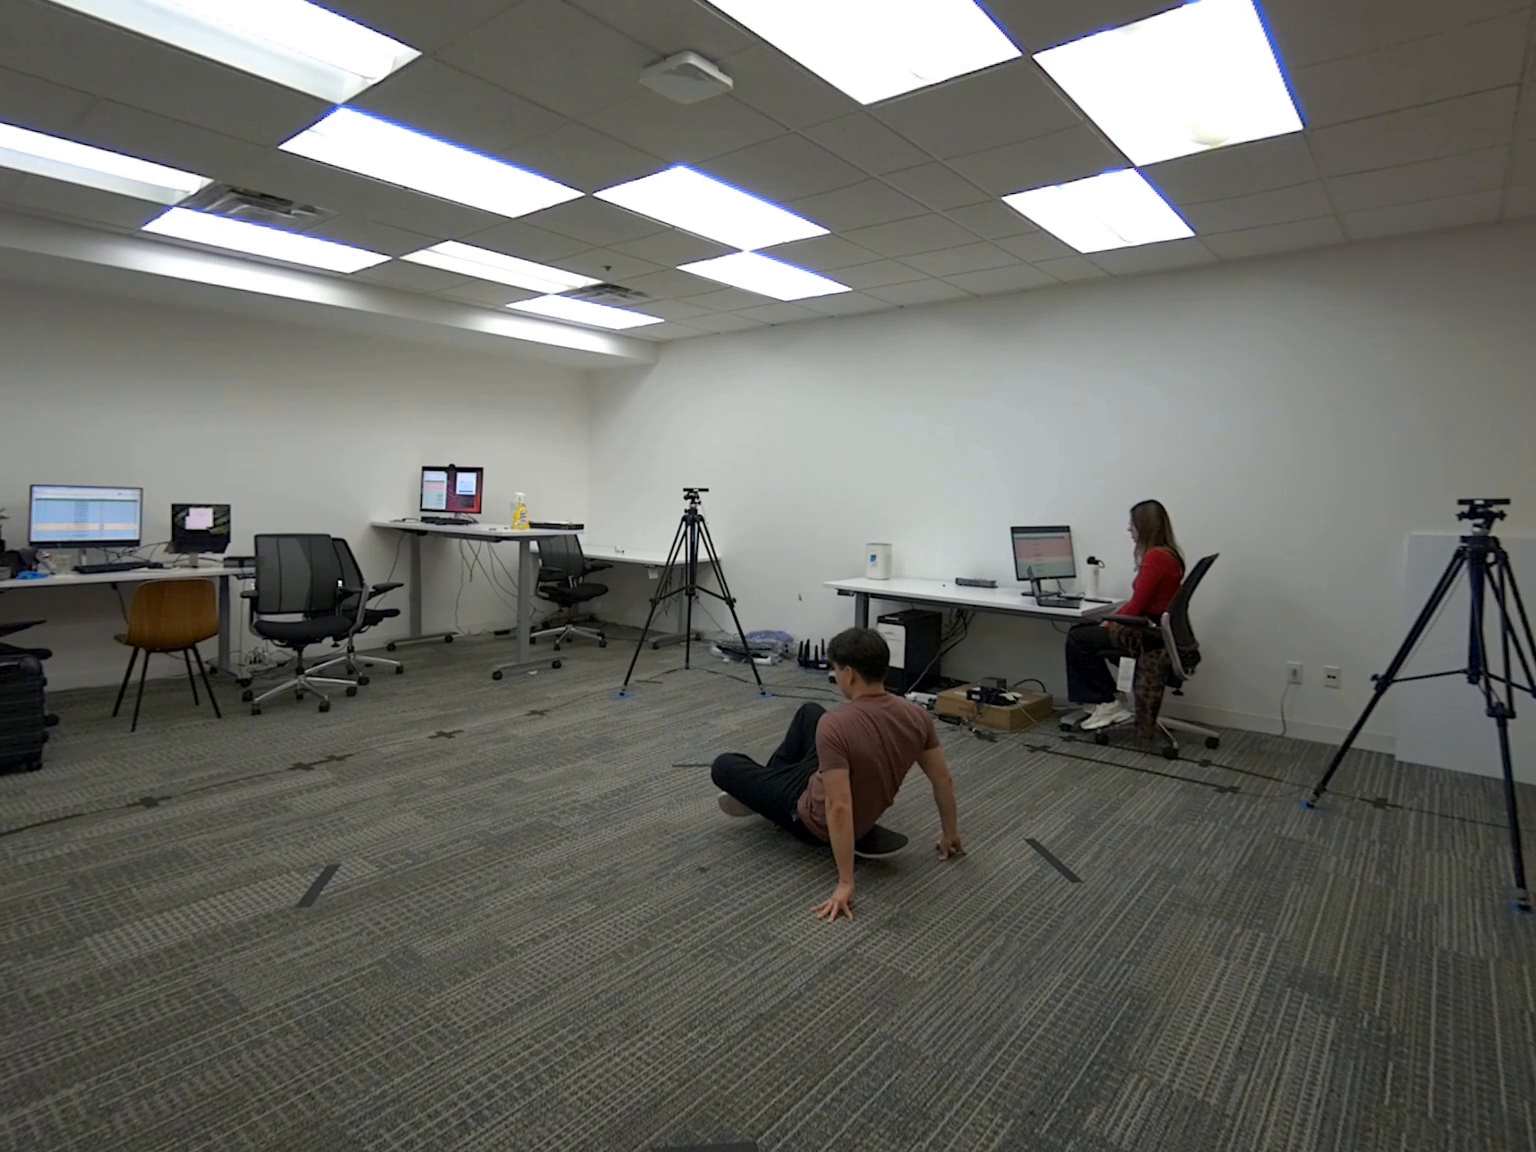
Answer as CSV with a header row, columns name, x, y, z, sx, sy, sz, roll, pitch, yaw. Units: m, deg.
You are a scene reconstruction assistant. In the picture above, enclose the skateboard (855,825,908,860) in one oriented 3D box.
name,x,y,z,sx,sy,sz,roll,pitch,yaw
skateboard,0.211,1.007,3.389,0.189,0.109,0.813,-18,17,-38
